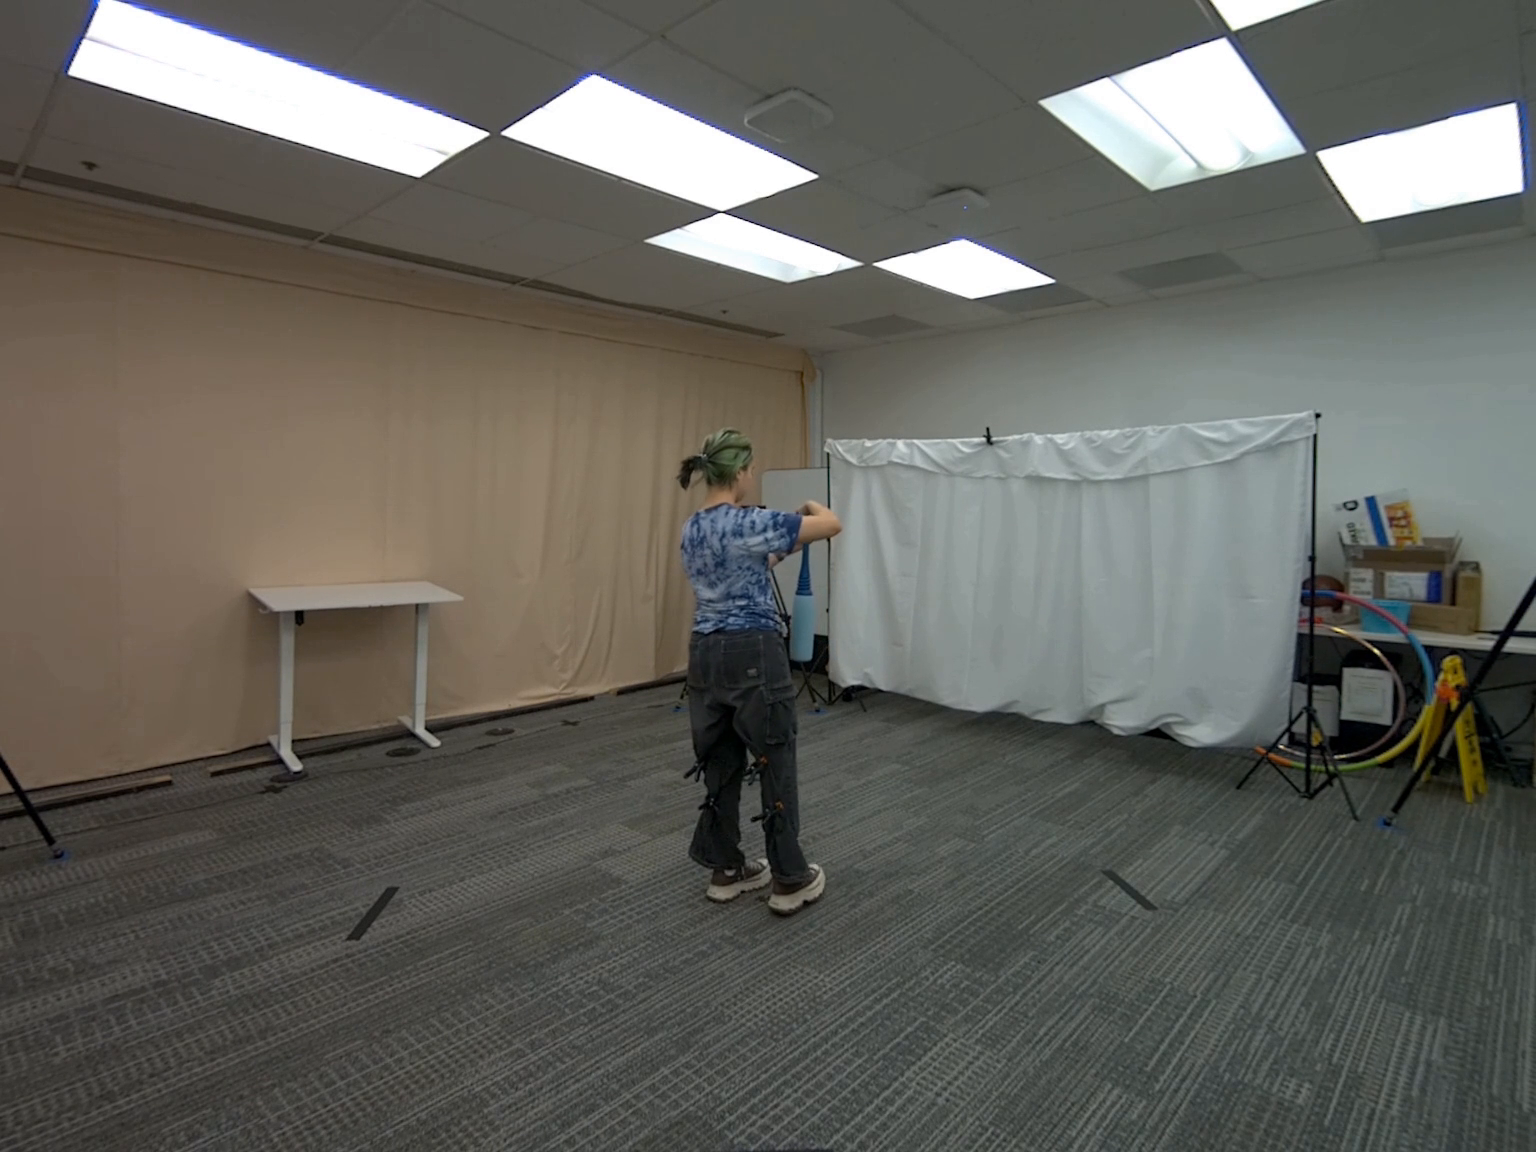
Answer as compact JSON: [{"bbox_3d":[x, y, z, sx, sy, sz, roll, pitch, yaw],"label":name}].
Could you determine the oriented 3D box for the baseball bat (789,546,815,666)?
[{"bbox_3d":[0.136,0.051,3.179,0.089,0.542,0.089,3,3,-2],"label":"baseball bat"}]
